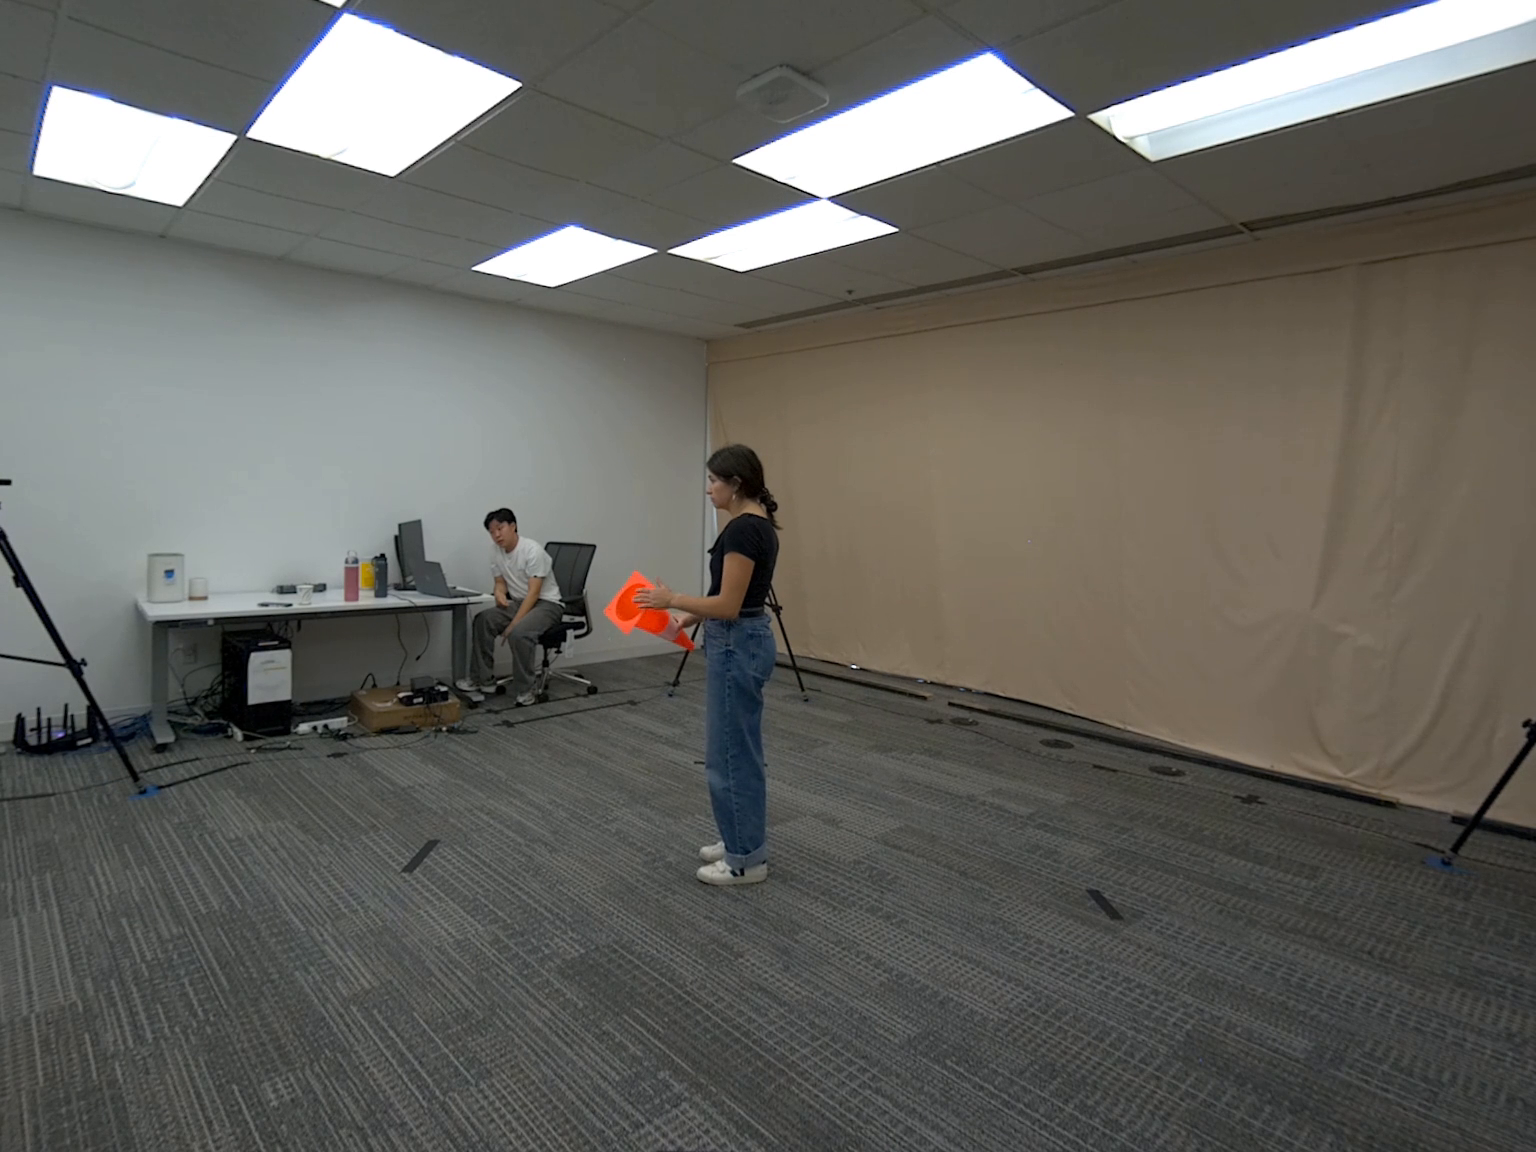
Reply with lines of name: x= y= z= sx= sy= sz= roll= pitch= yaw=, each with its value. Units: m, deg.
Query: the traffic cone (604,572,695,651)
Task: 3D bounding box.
traffic cone: x=-0.407 y=0.189 z=3.224 sx=0.371 sy=0.203 sz=0.211 roll=41 pitch=-5 yaw=-40
